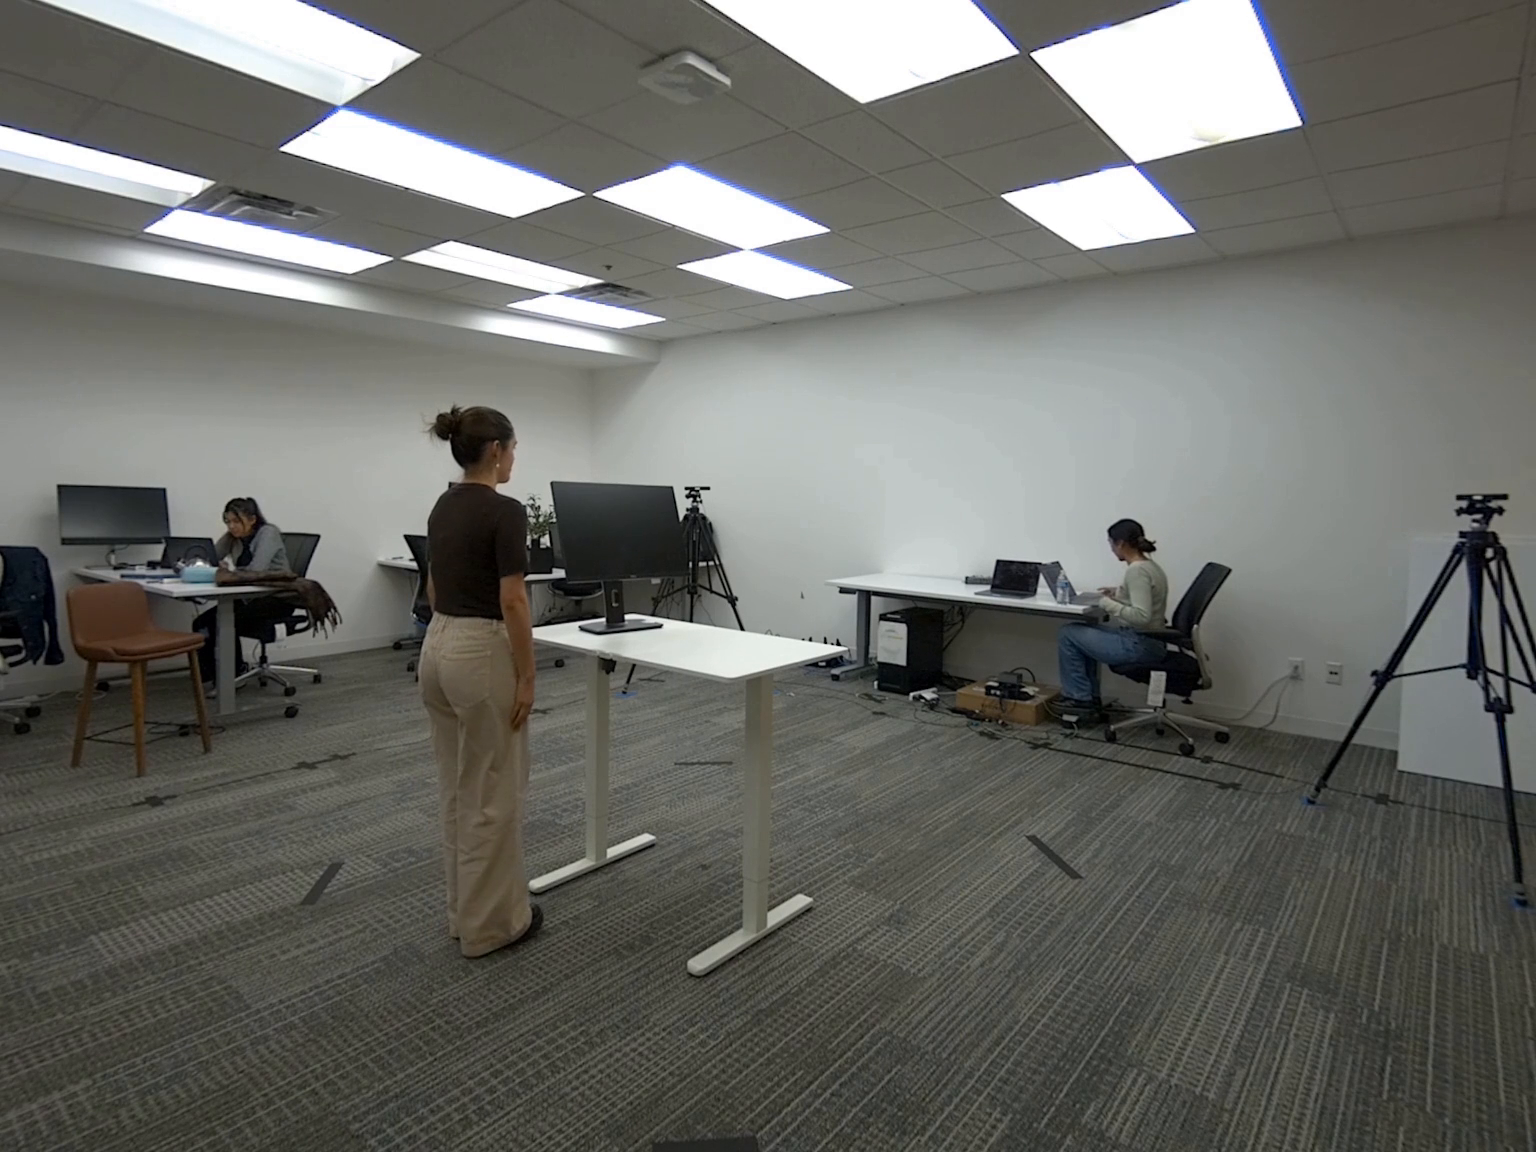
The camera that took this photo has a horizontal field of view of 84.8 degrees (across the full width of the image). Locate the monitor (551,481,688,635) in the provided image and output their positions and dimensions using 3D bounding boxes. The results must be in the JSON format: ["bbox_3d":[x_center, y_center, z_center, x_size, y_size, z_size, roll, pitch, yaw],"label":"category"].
[{"bbox_3d":[-0.546,-0.070,3.031,0.193,0.523,0.522,-1,0,43],"label":"monitor"}]
